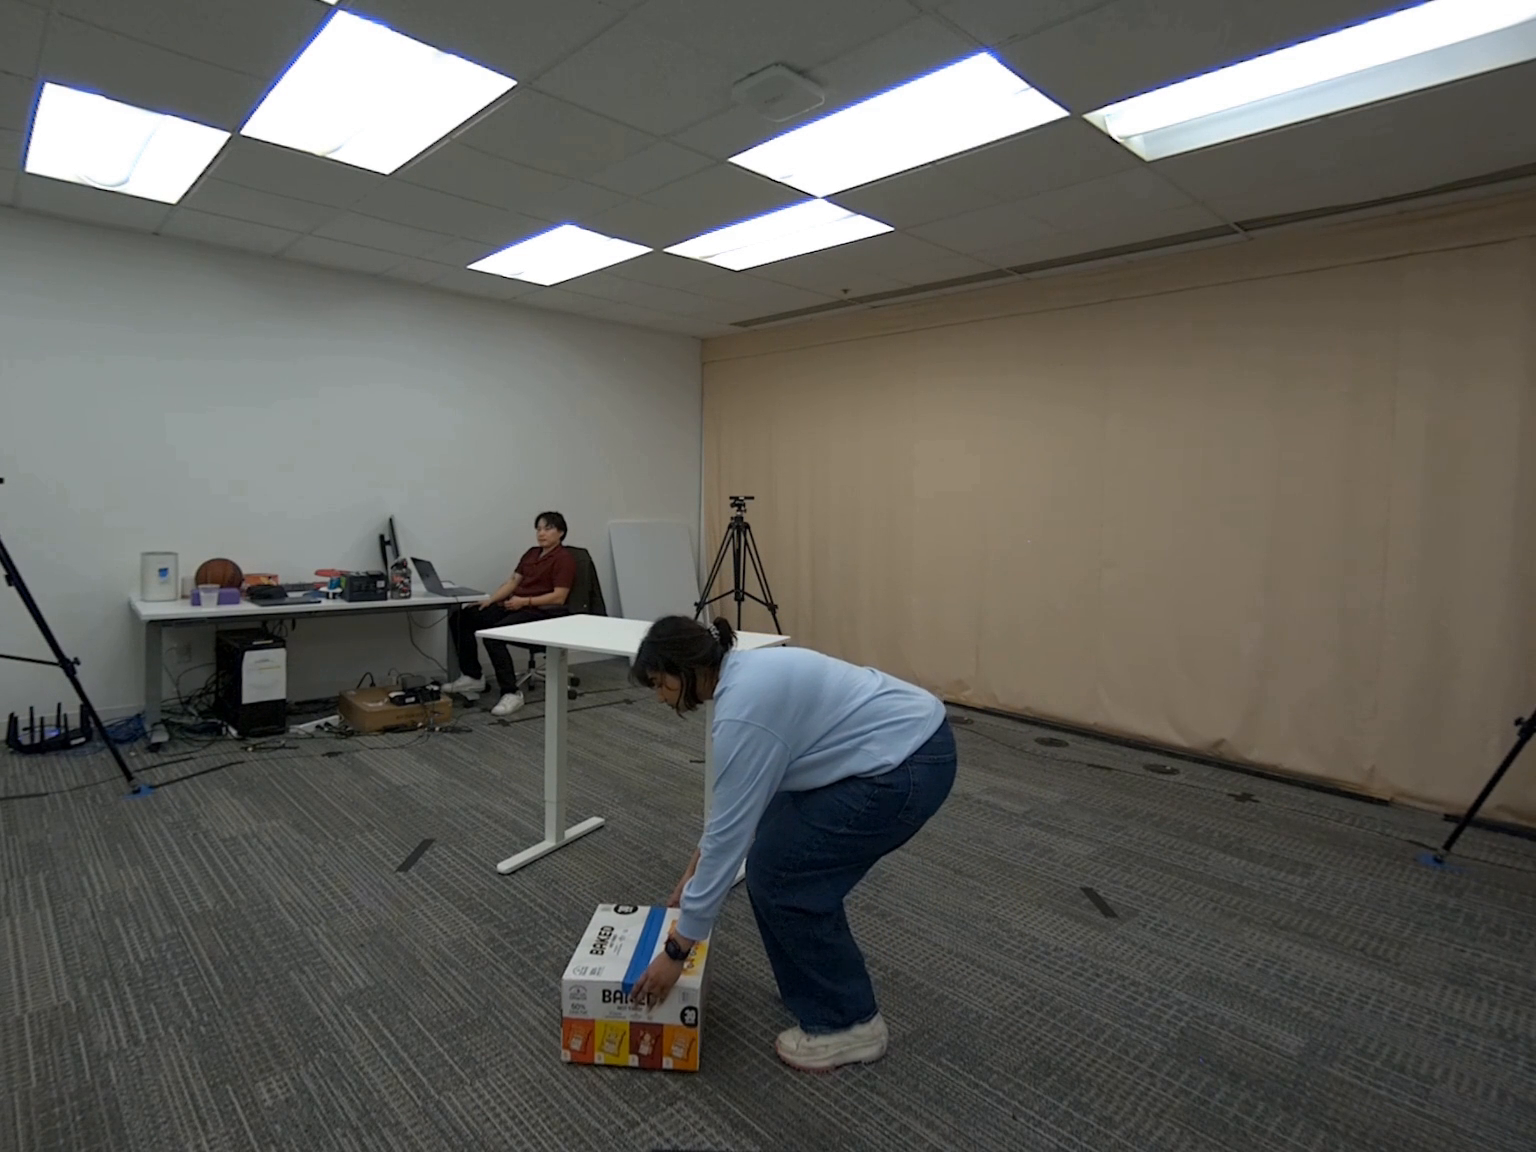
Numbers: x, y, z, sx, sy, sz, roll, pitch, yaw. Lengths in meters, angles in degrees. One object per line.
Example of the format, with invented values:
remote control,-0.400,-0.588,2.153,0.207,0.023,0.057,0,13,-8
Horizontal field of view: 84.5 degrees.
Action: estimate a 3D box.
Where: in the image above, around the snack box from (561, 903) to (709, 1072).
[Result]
snack box,-0.330,1.064,2.234,0.341,0.205,0.405,2,5,3
